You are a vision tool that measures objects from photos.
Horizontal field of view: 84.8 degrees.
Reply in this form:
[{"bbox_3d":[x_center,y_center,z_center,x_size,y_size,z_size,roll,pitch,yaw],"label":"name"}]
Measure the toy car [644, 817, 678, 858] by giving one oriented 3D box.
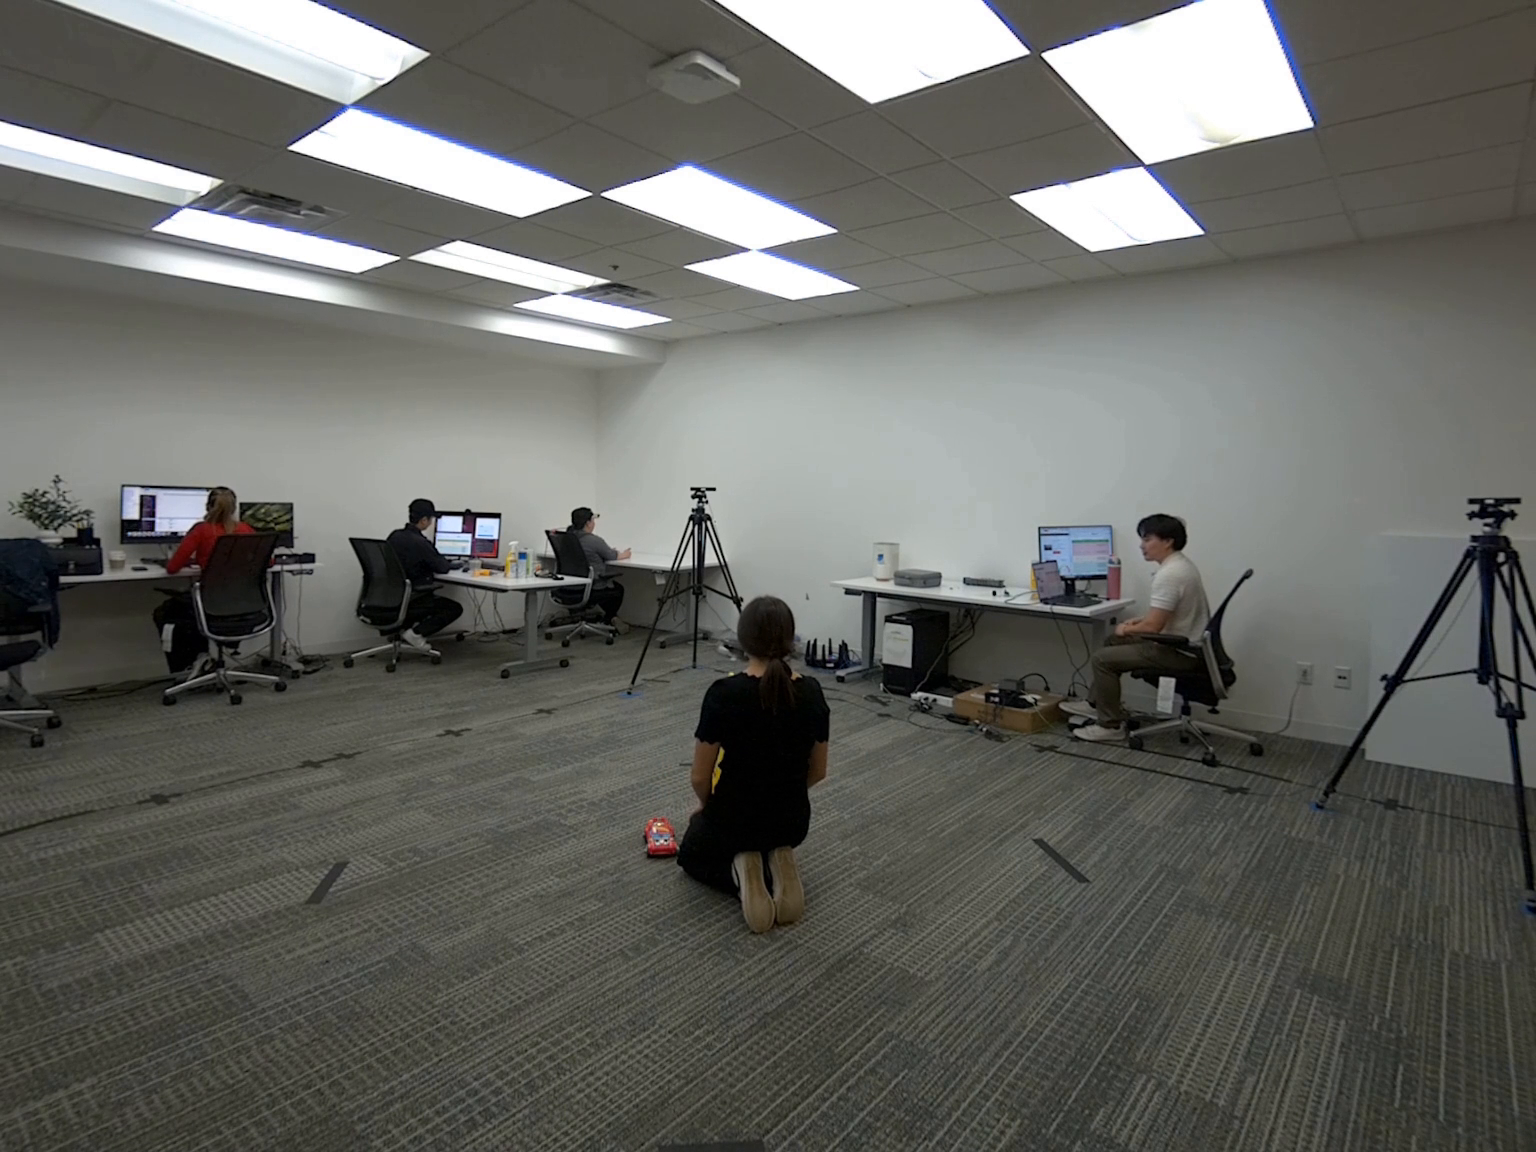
[{"bbox_3d":[-0.425,1.012,3.308,0.129,0.082,0.261,-1,17,-11],"label":"toy car"}]
